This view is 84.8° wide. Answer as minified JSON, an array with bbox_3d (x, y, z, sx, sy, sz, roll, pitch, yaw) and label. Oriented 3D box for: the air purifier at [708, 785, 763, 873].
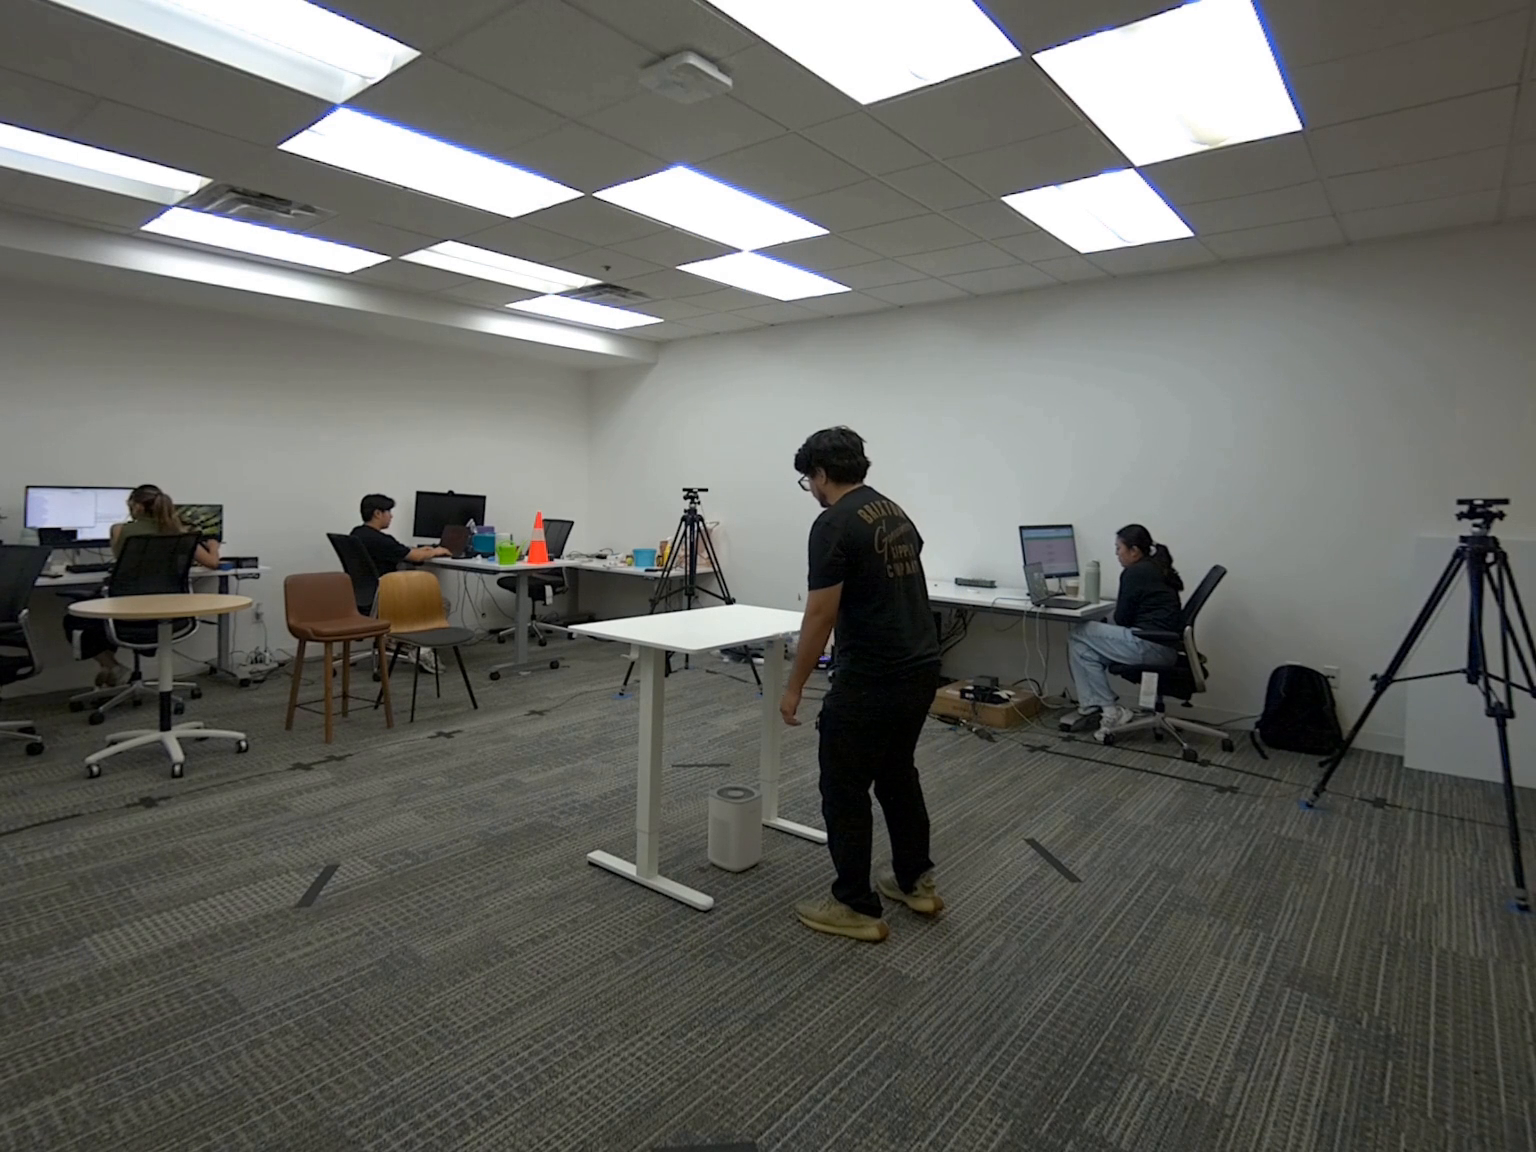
[{"bbox_3d":[-0.133,0.930,3.159,0.177,0.265,0.166,3,4,38],"label":"air purifier"}]
